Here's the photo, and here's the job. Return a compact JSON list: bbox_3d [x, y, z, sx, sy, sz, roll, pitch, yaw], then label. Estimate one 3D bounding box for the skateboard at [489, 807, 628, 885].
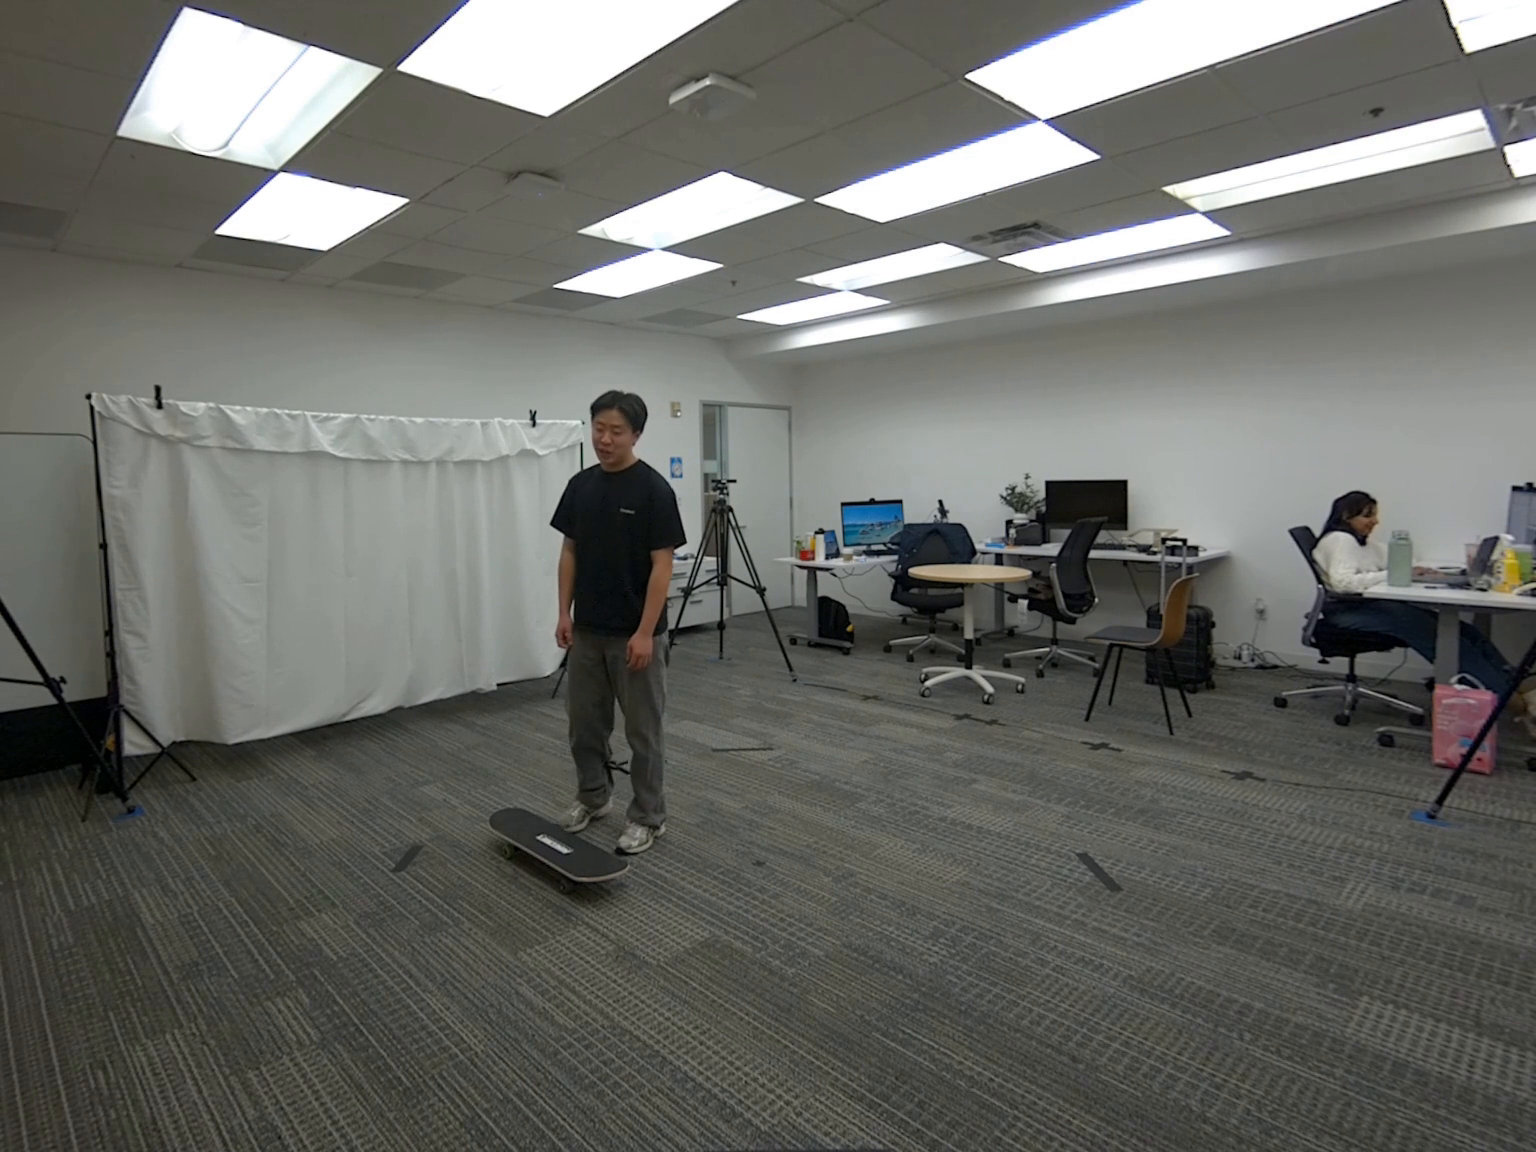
[{"bbox_3d":[-0.775,1.009,3.108,0.188,0.110,0.810,-8,9,-43],"label":"skateboard"}]
